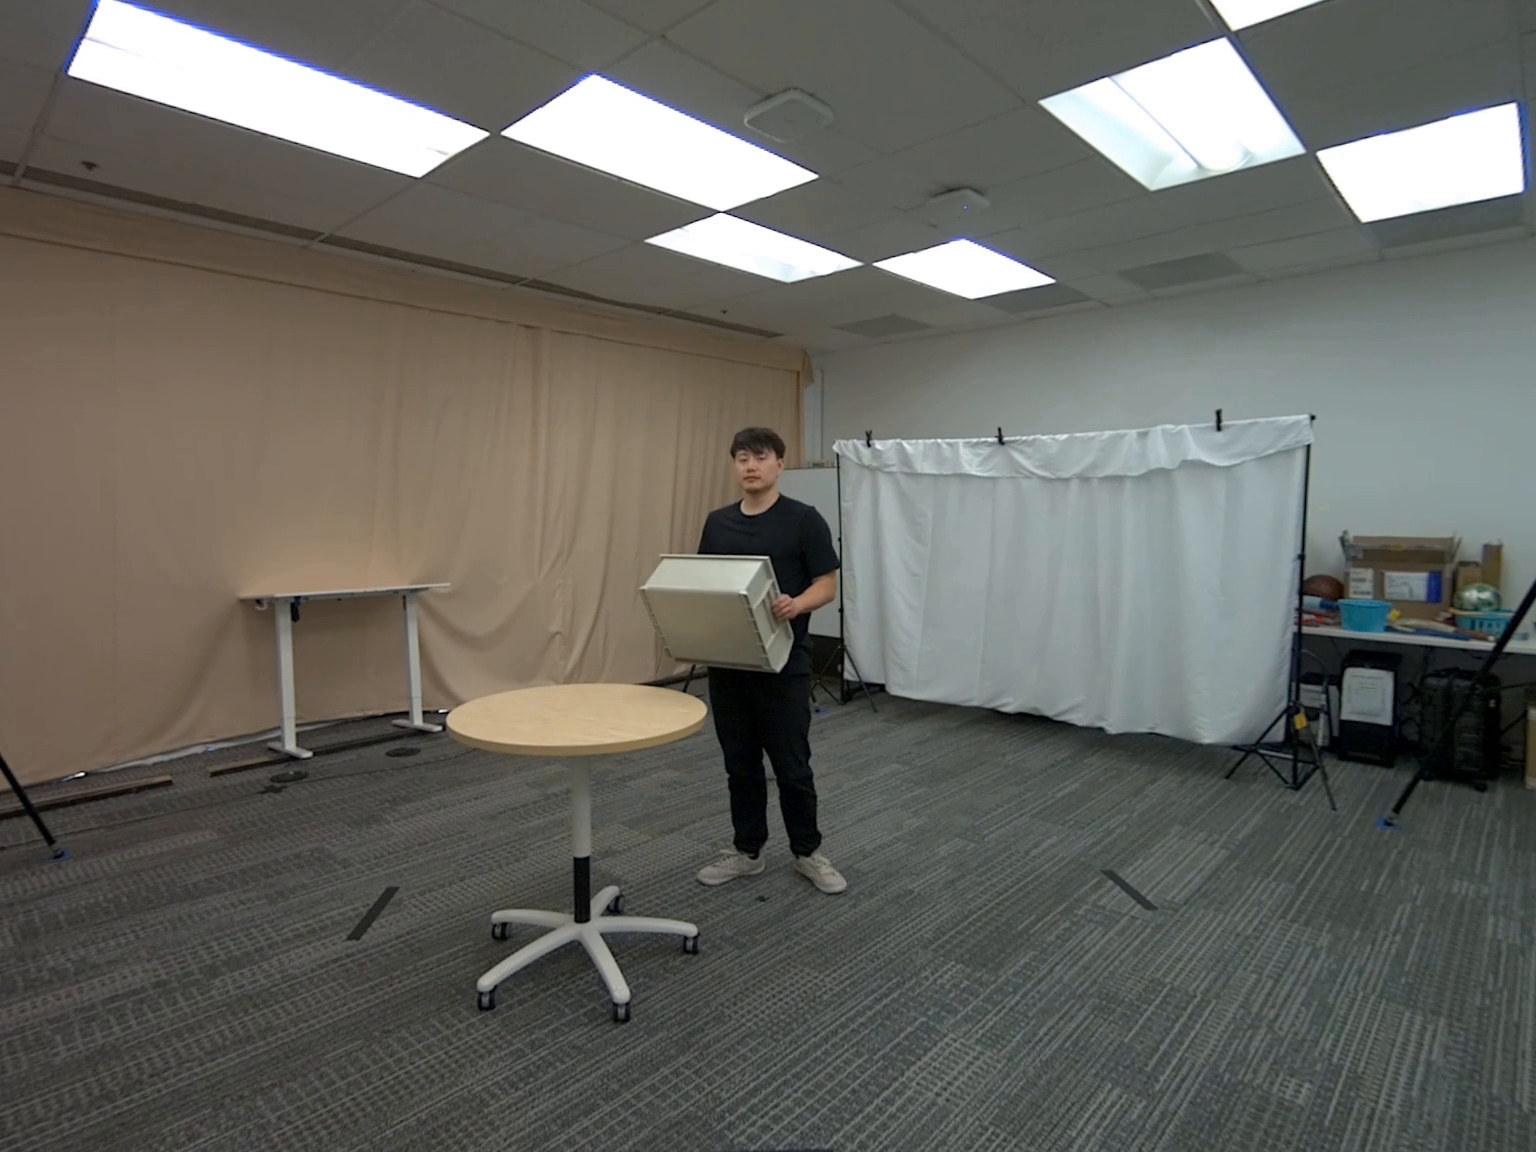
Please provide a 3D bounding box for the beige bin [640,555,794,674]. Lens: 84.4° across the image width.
[{"bbox_3d":[-0.162,0.137,2.841,0.434,0.368,0.188,2,38,30],"label":"beige bin"}]
